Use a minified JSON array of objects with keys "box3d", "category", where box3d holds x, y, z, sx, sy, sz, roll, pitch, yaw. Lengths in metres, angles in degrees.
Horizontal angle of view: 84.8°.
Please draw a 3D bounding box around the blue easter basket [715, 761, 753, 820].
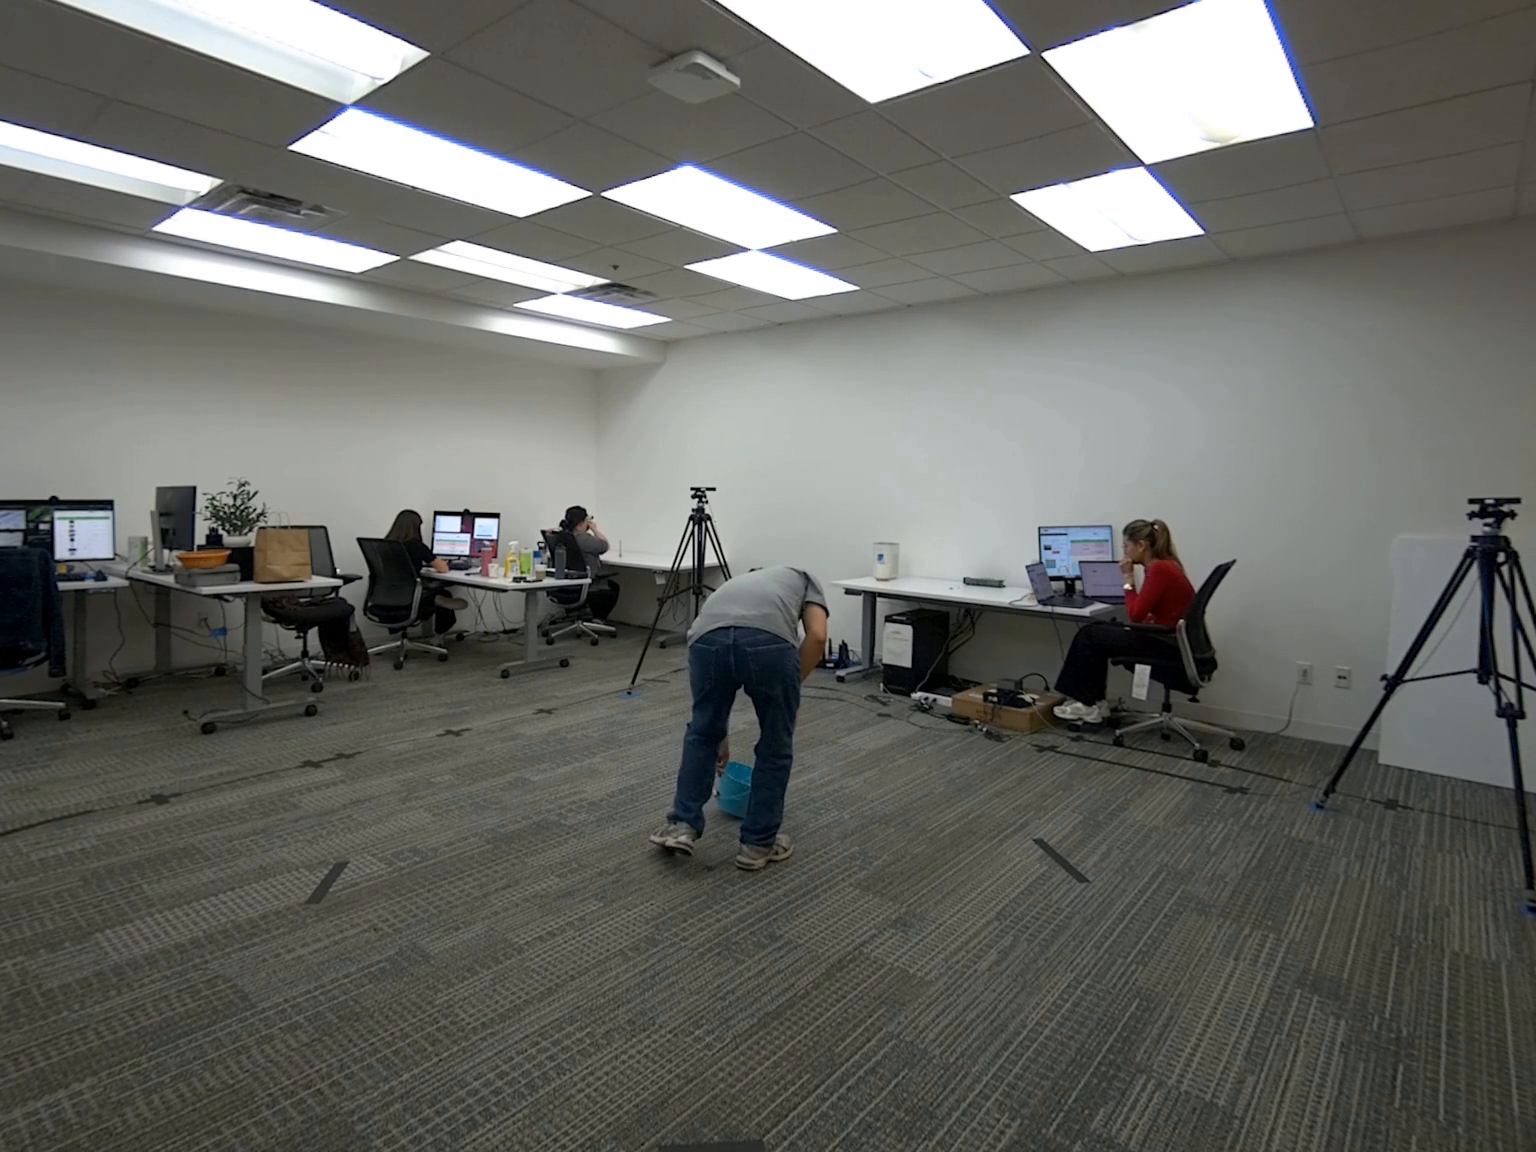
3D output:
[{"box3d":[-0.129,0.916,3.641,0.243,0.155,0.245,19,4,-3],"category":"blue easter basket"}]
